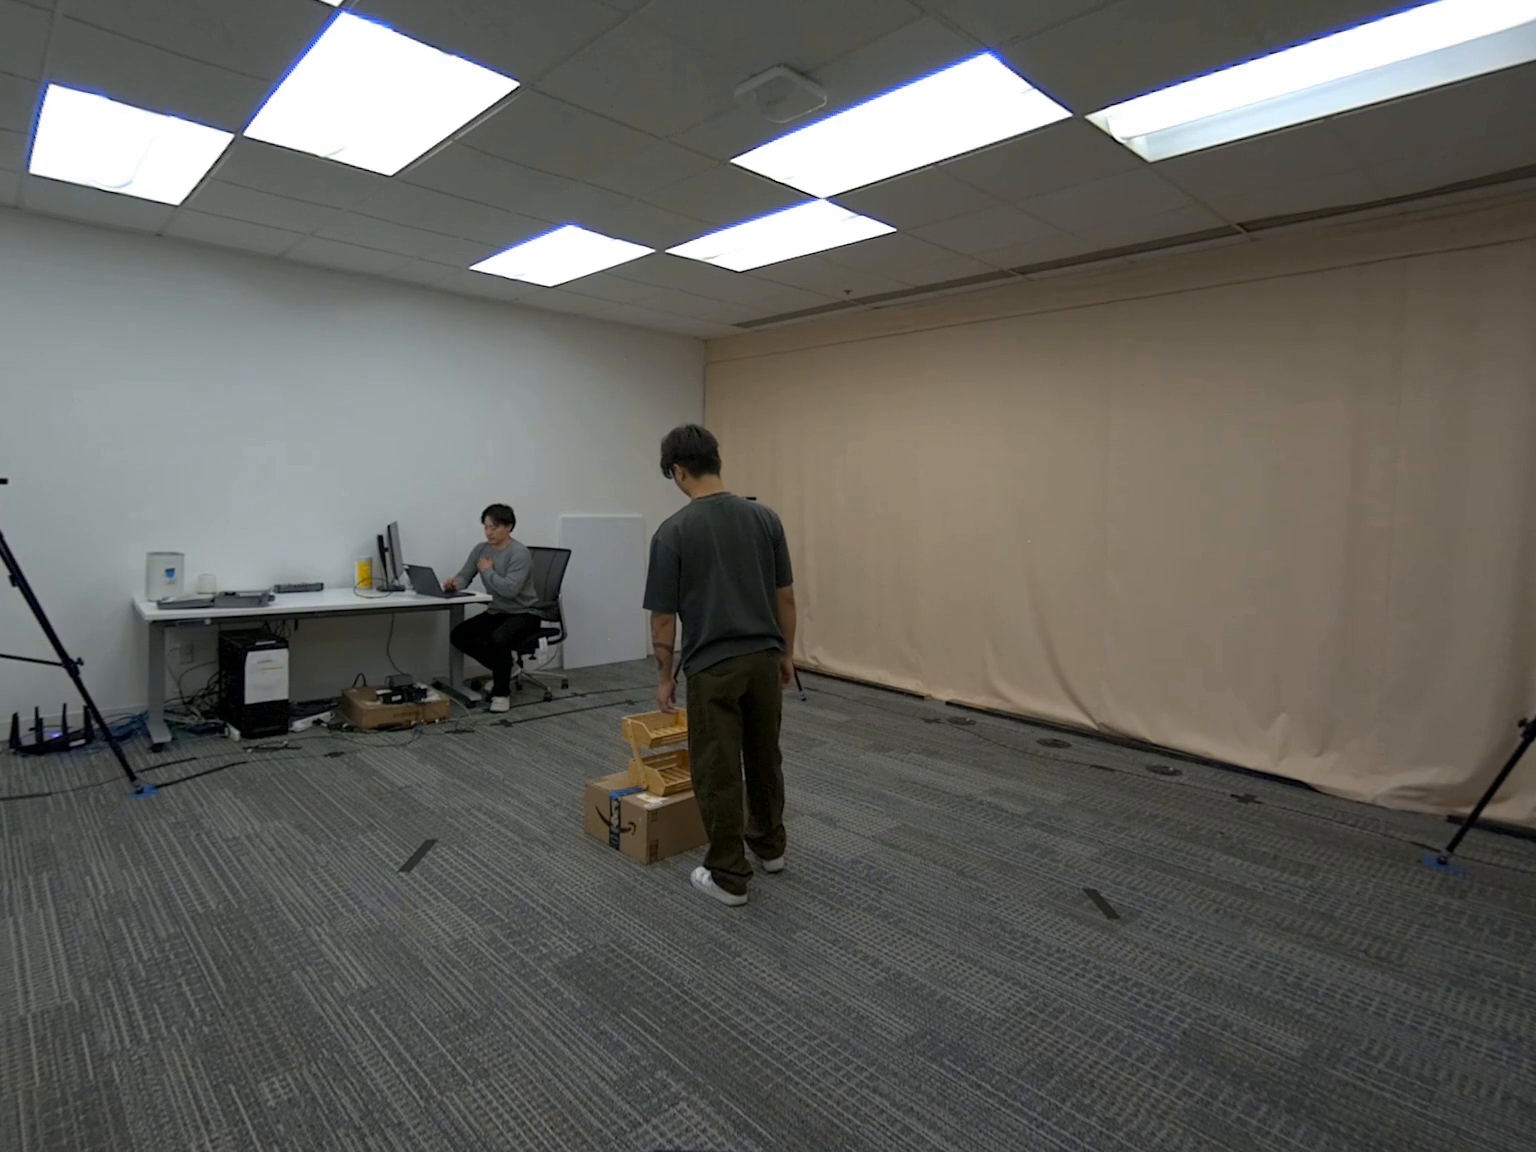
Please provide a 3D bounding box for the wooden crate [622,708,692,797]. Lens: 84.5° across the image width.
[{"bbox_3d":[-0.413,0.721,3.510,0.317,0.273,0.309,-2,4,-44],"label":"wooden crate"}]
